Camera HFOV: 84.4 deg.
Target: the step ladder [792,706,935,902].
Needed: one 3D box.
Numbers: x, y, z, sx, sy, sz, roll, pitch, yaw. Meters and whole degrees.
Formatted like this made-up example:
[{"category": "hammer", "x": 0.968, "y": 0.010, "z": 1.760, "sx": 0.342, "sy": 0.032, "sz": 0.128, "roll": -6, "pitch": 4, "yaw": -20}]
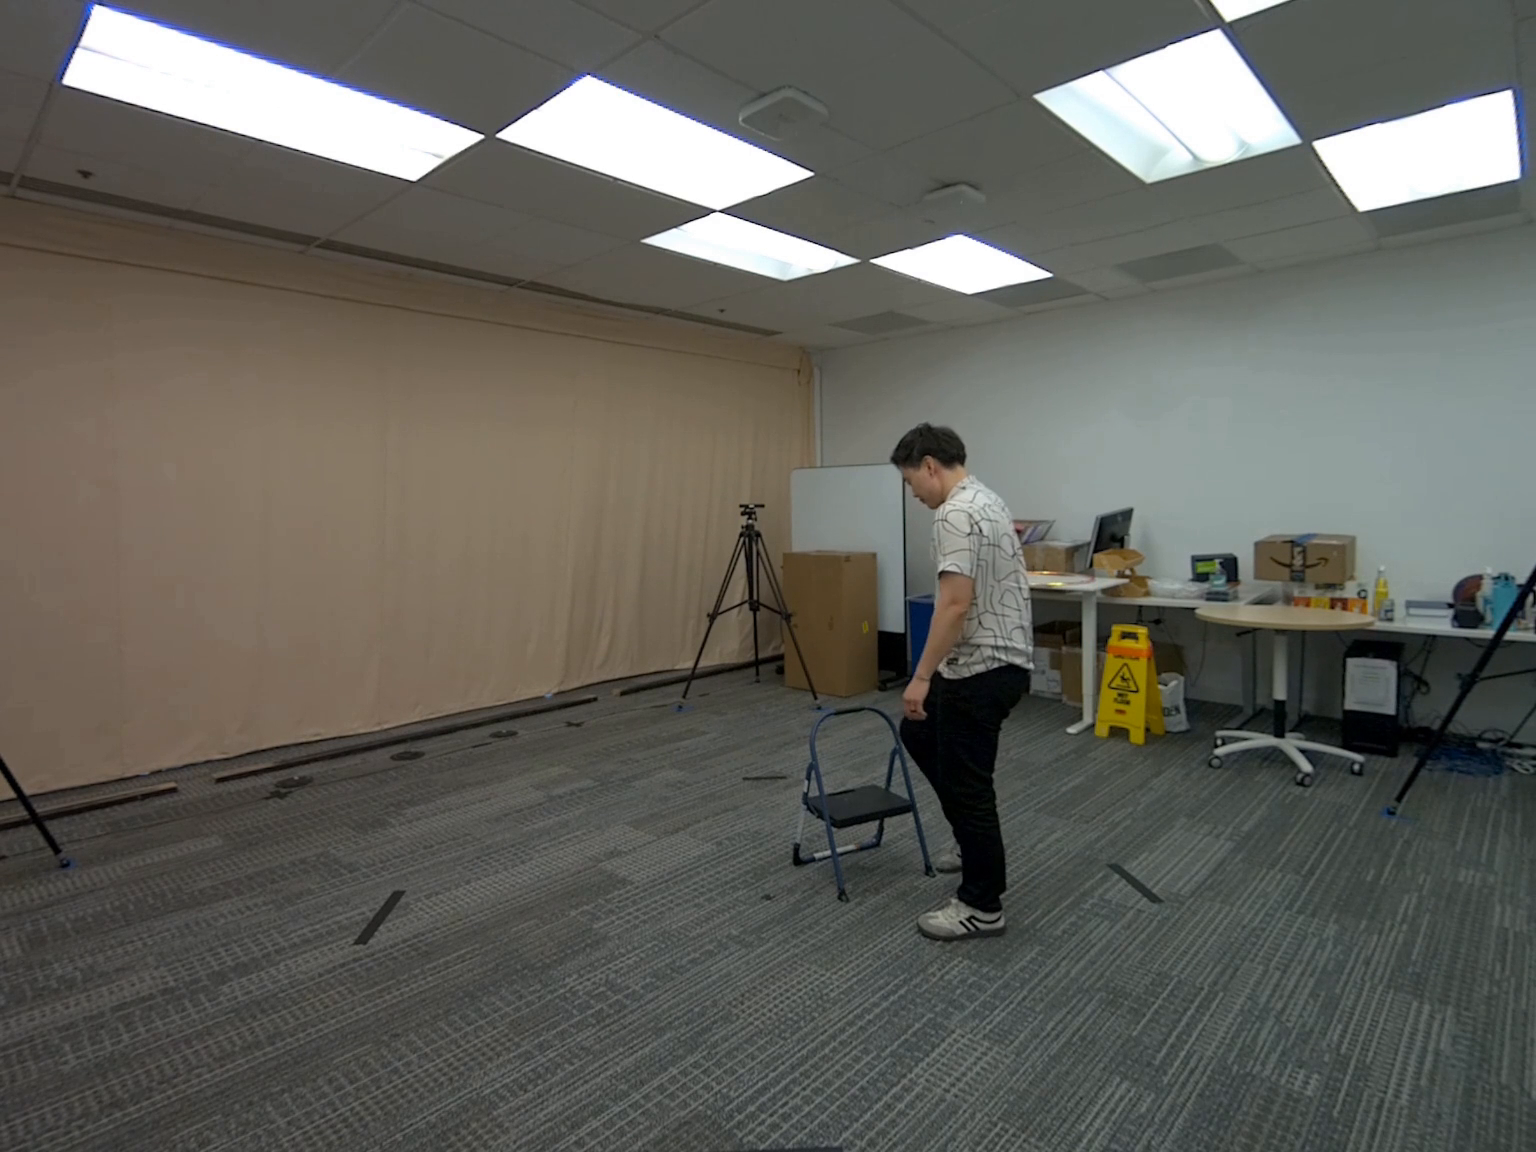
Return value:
[{"category": "step ladder", "x": 0.356, "y": 0.812, "z": 3.173, "sx": 0.419, "sy": 0.605, "sz": 0.359, "roll": -3, "pitch": 4, "yaw": -29}]
